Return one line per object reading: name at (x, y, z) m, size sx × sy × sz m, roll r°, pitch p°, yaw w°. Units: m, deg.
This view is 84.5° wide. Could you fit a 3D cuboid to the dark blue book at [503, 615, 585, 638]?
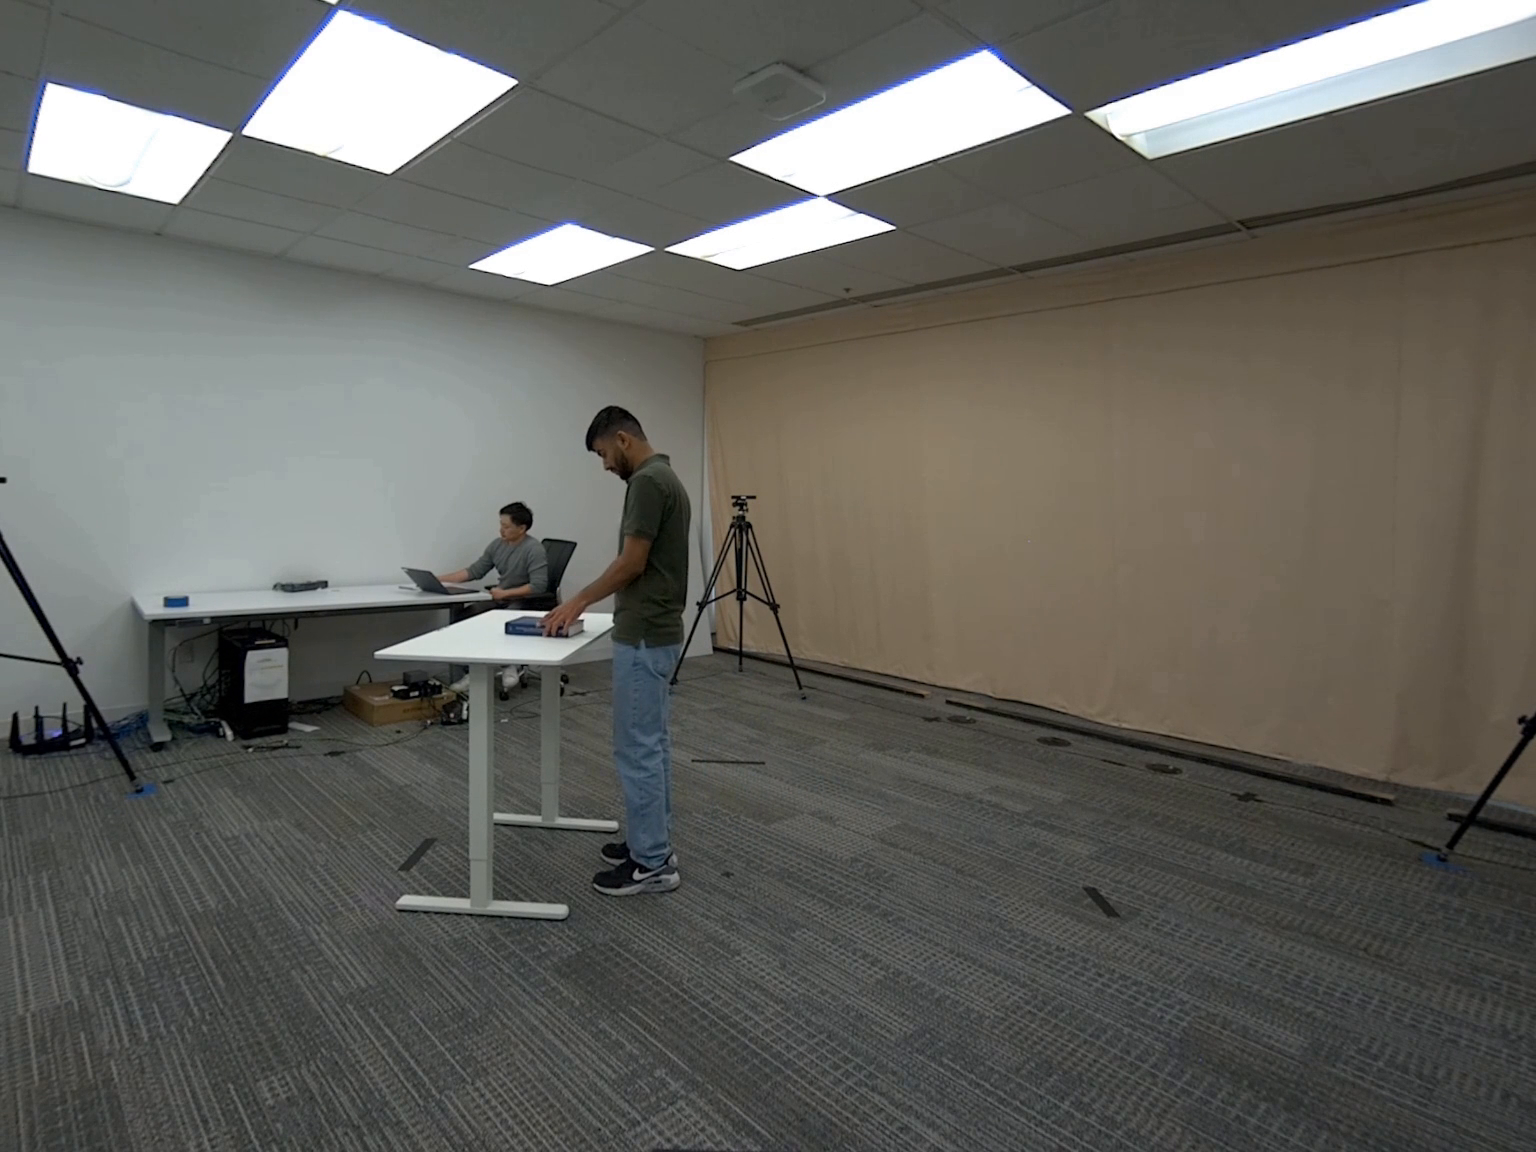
dark blue book at (-0.816, 0.188, 3.070) m, size 0.247 × 0.045 × 0.162 m, roll 3°, pitch 6°, yaw 10°
